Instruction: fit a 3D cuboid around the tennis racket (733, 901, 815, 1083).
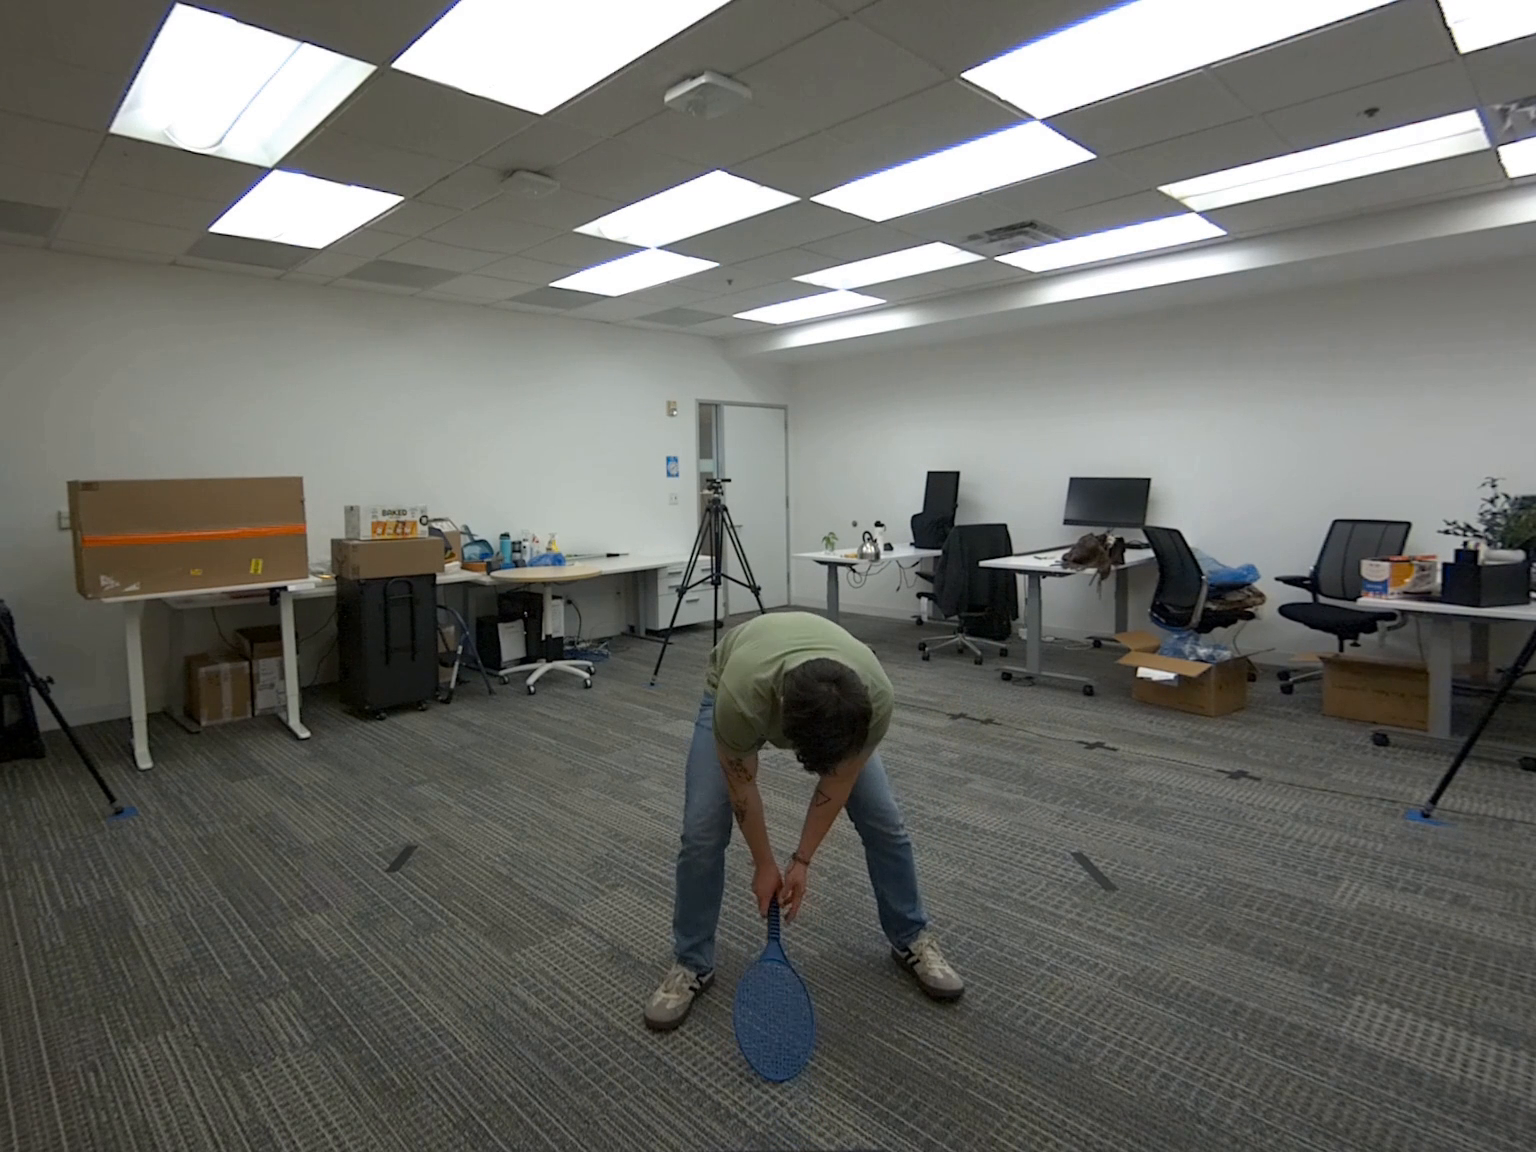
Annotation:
[{"bbox_3d":[0.025,1.008,2.133,0.210,0.444,0.031,16,-44,-15],"label":"tennis racket"}]
